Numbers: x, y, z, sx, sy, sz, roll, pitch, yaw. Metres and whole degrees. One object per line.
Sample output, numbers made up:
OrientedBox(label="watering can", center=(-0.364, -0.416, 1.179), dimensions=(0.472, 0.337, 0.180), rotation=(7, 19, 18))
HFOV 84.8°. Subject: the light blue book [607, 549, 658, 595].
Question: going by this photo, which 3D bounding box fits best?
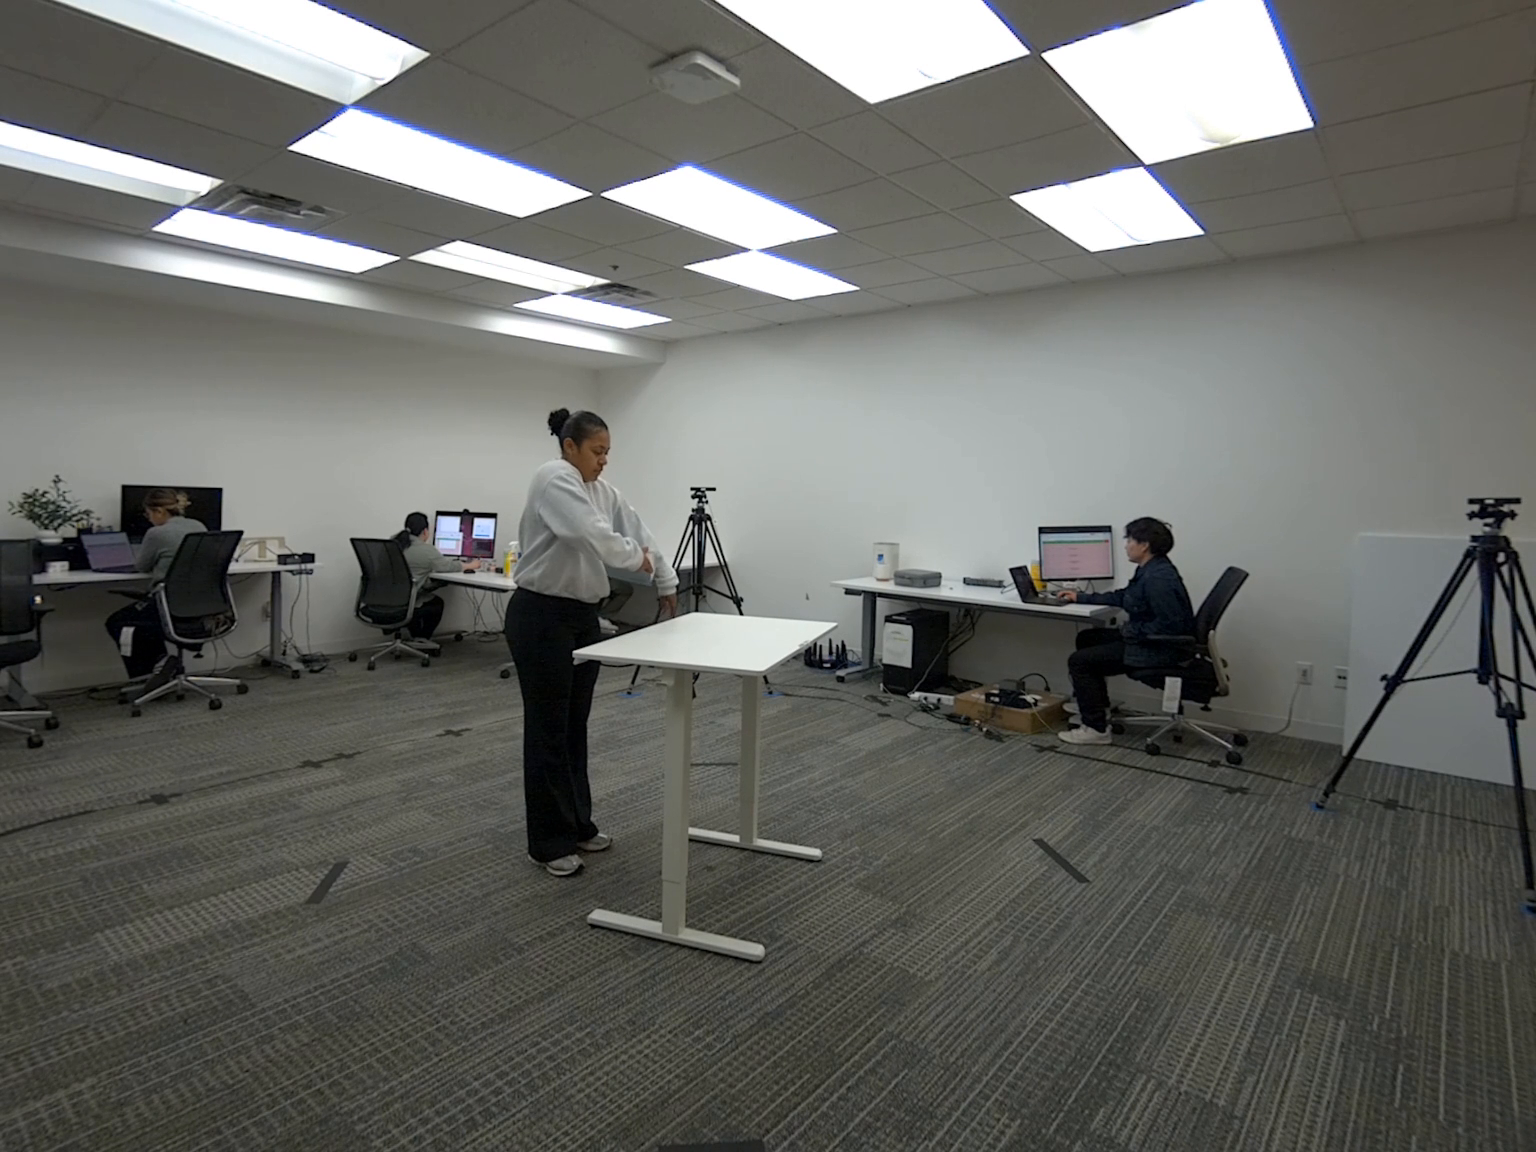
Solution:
OrientedBox(label="light blue book", center=(-0.556, -0.044, 3.236), dimensions=(0.191, 0.060, 0.258), rotation=(14, -20, -2))
